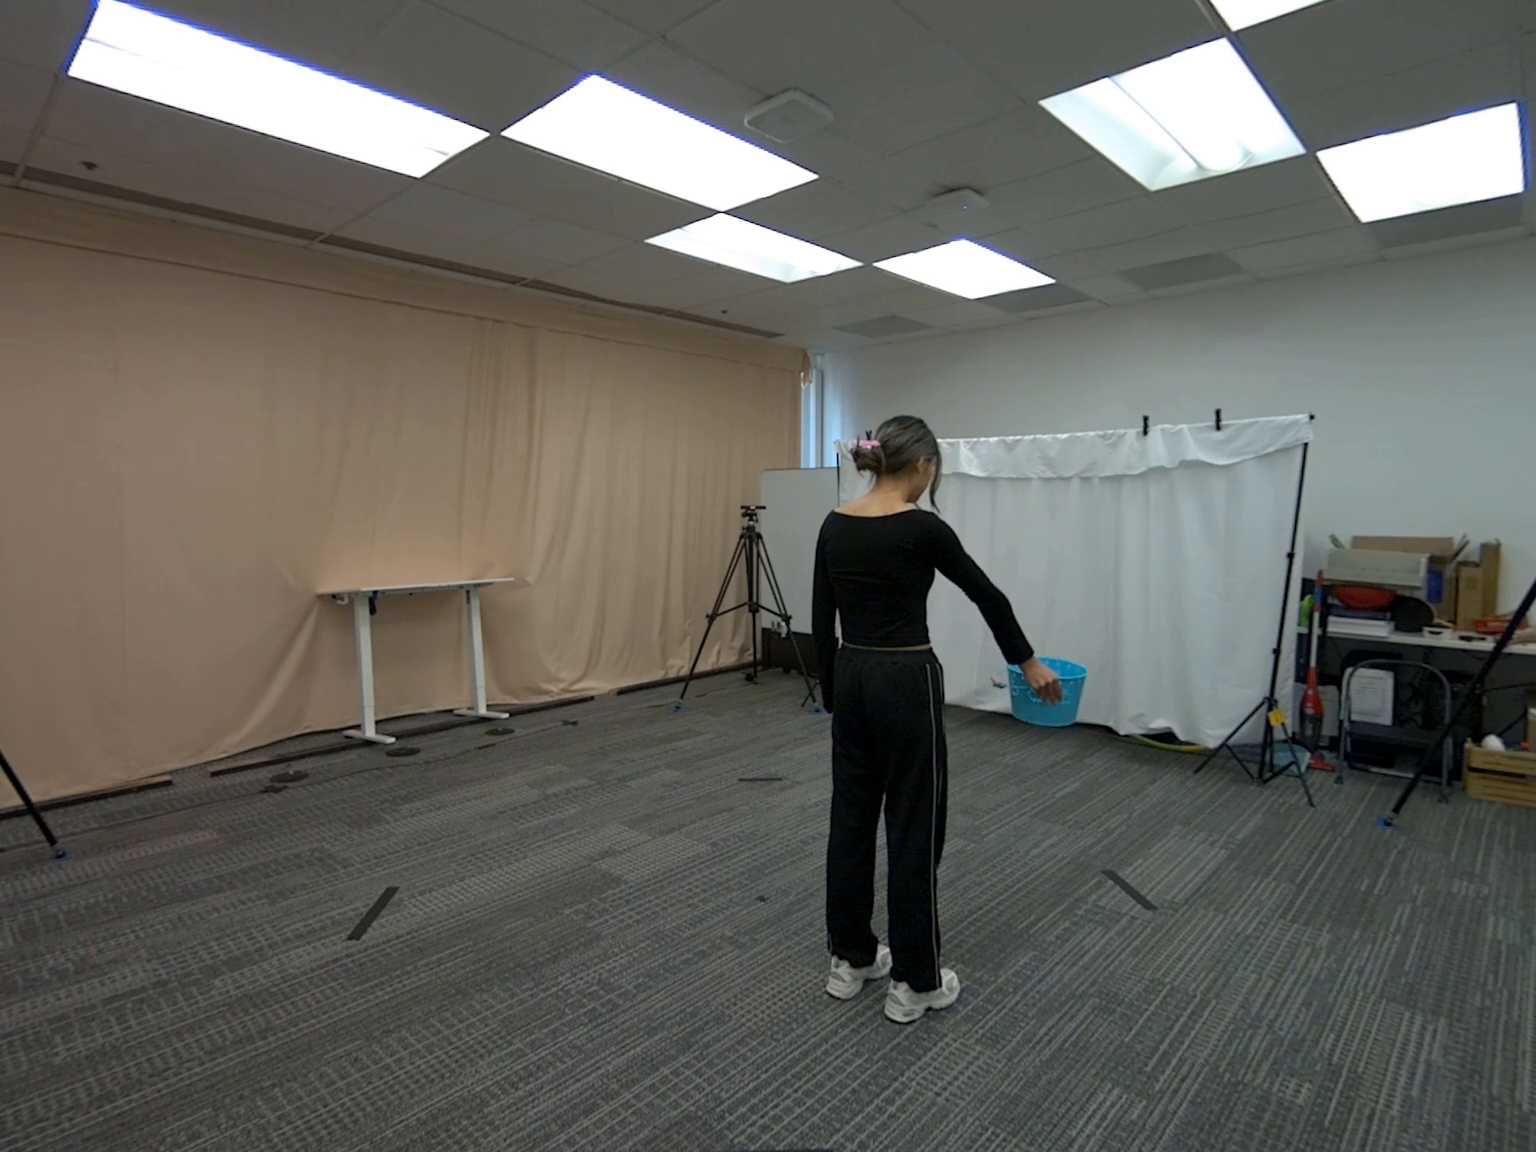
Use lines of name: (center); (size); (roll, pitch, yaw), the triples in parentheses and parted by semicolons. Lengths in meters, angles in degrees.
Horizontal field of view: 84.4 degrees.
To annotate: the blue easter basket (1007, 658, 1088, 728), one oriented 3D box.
blue easter basket: (0.855, 0.350, 2.531); (0.243, 0.155, 0.245); (1, 8, -2)
